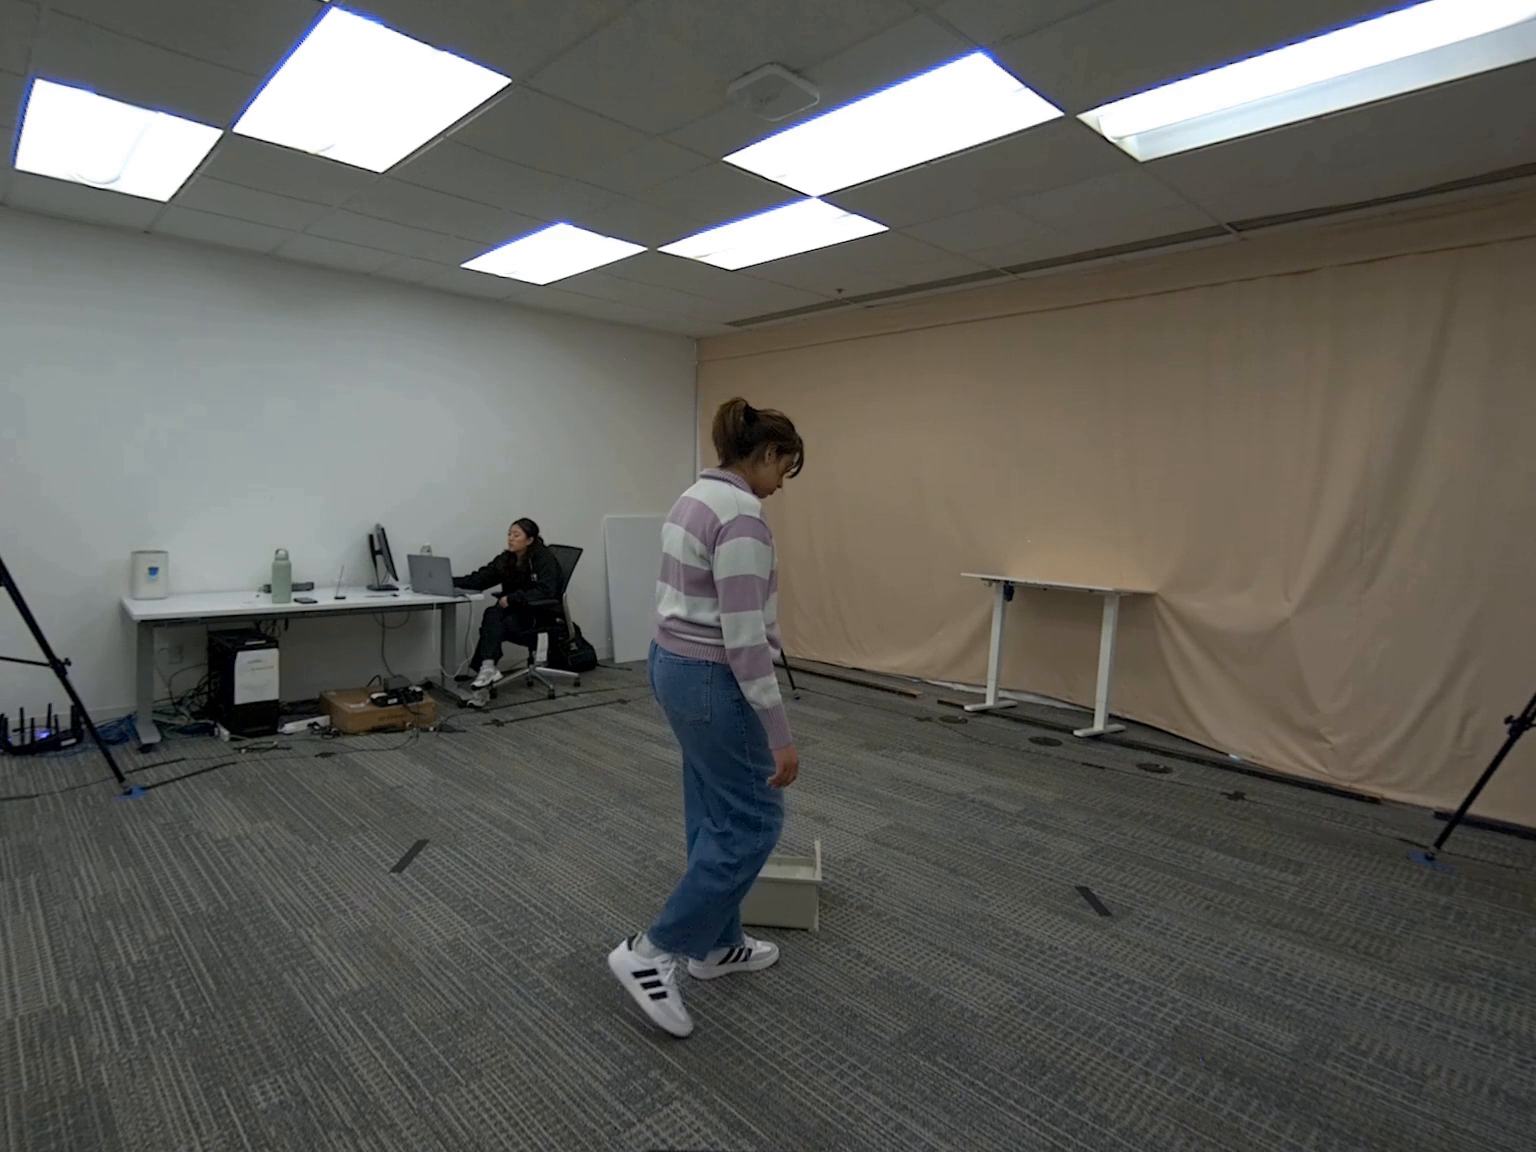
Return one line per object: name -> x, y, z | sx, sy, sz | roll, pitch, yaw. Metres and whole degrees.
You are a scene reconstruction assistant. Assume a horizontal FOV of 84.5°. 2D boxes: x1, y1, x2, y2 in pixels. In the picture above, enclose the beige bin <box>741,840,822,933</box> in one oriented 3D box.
beige bin -> -0.035, 1.046, 2.891 | 0.424, 0.188, 0.378 | 1, 7, 4
